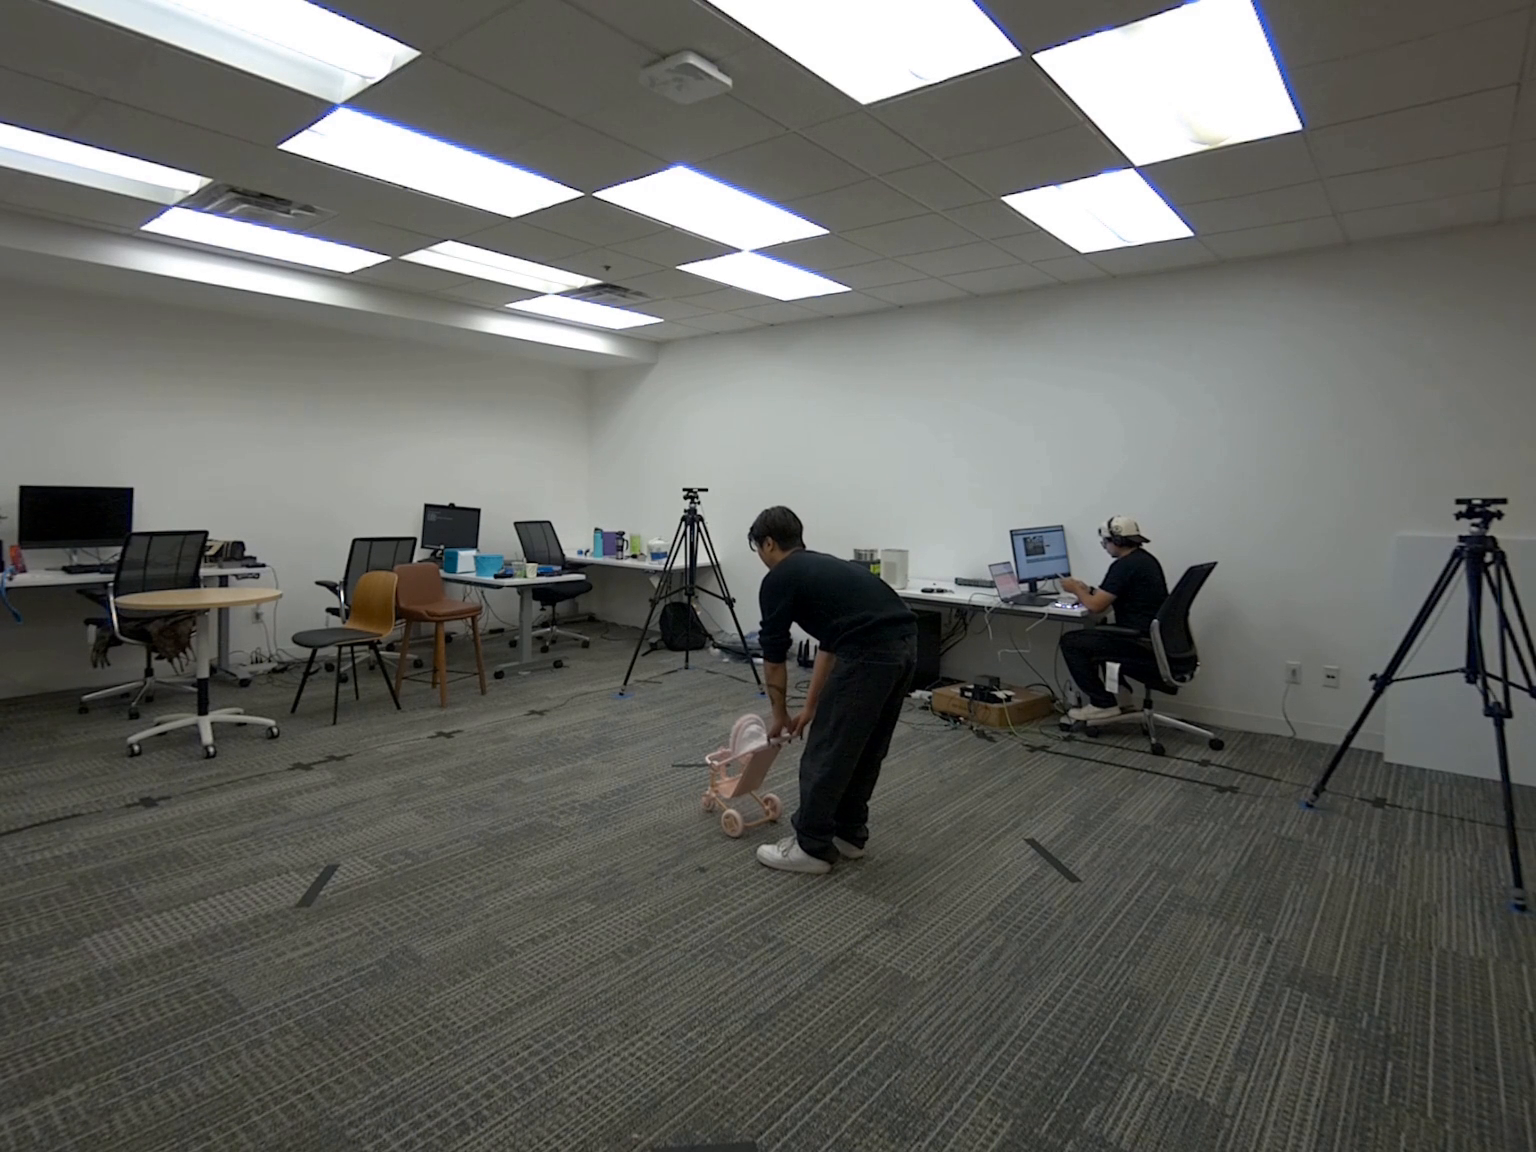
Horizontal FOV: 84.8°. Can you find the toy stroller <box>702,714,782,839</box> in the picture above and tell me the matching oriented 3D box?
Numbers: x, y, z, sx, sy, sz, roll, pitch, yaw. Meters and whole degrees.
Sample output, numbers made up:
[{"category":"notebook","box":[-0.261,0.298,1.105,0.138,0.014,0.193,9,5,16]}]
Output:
[{"category":"toy stroller","box":[-0.113,0.806,3.534,0.273,0.529,0.356,-1,21,-44]}]
